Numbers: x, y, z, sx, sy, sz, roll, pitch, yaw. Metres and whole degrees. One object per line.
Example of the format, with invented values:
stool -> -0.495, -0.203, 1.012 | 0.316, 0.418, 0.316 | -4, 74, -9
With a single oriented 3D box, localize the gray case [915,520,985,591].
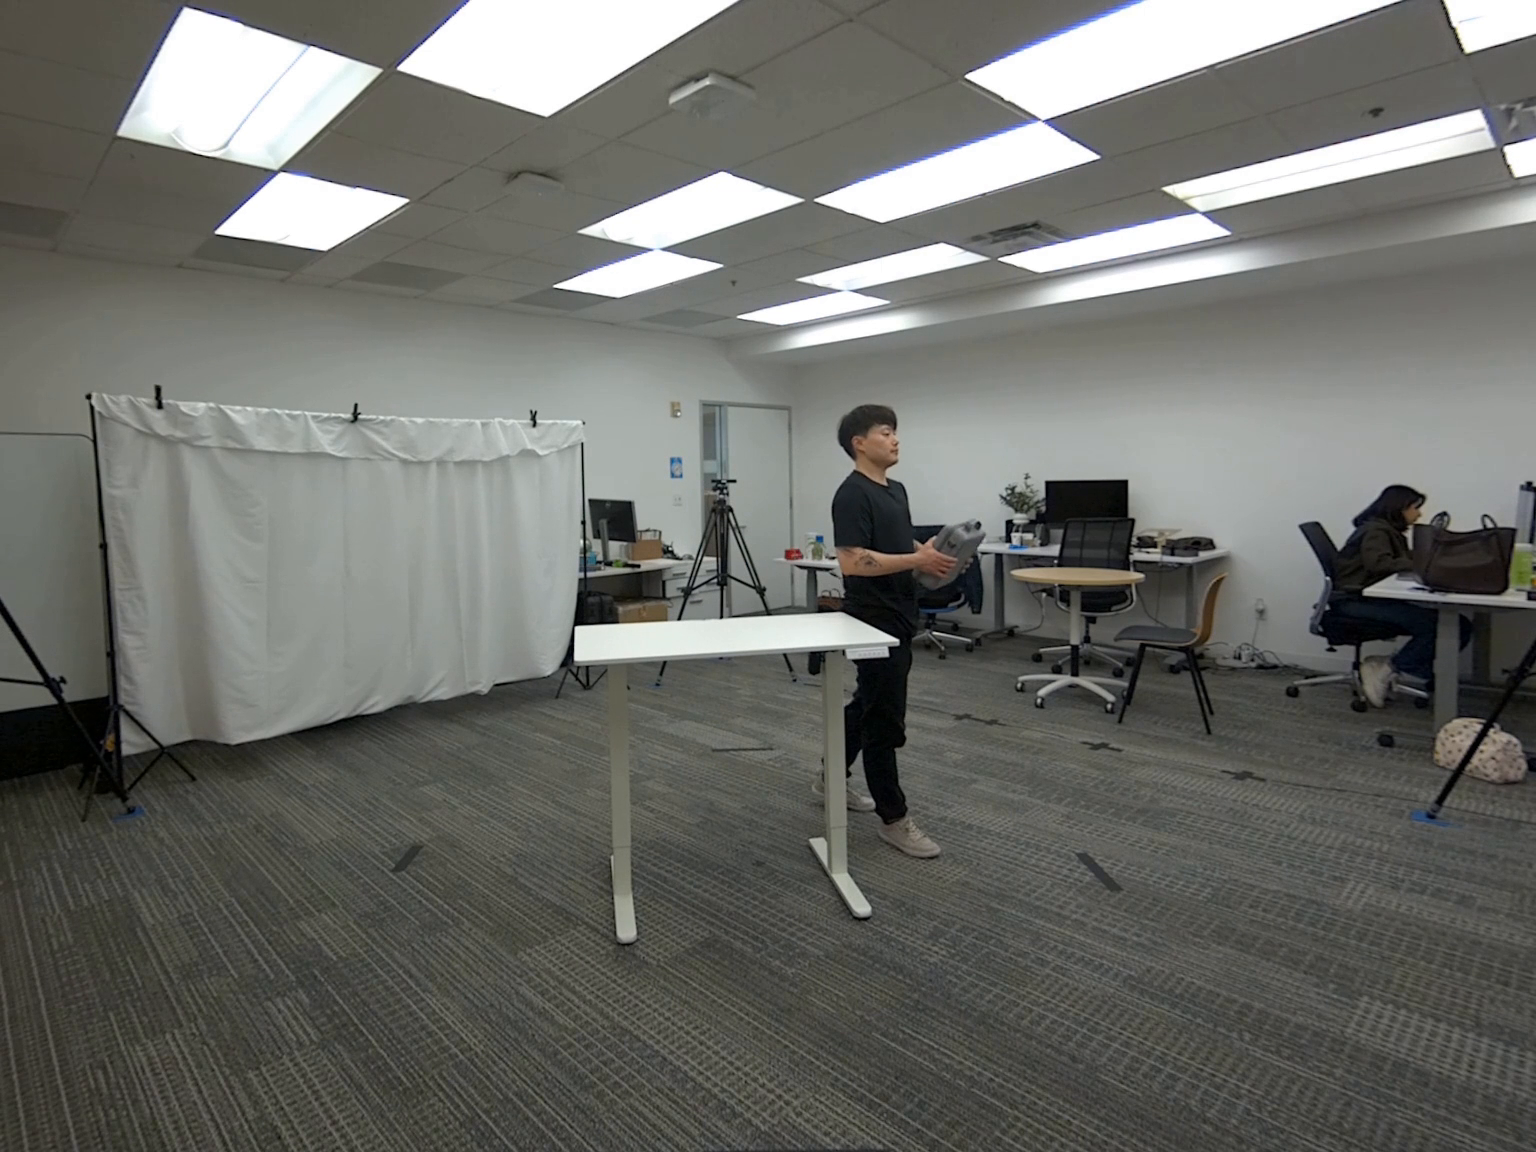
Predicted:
gray case -> 0.671, -0.083, 3.184 | 0.107, 0.259, 0.251 | 41, 28, 21
